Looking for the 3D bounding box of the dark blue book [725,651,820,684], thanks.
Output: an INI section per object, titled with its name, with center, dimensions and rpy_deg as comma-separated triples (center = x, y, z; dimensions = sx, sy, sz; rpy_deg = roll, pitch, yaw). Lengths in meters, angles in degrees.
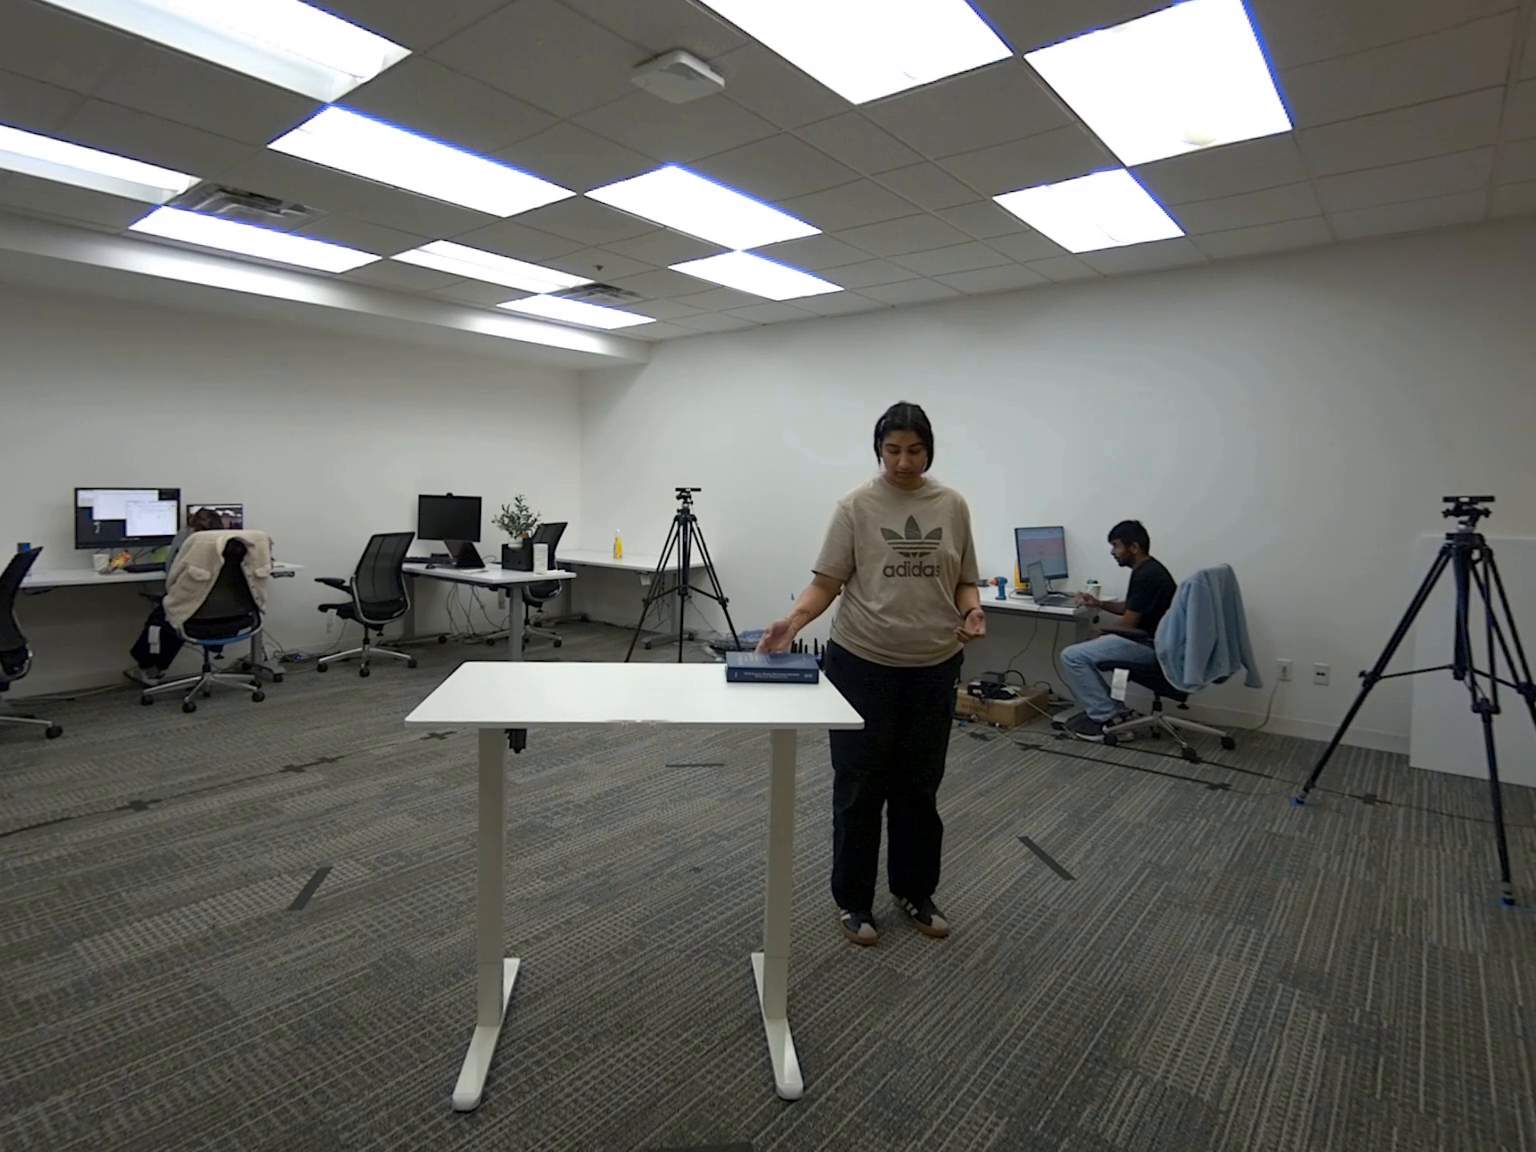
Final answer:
[dark blue book]
center = 0.001, 0.250, 2.320
dimensions = 0.245, 0.045, 0.164
rpy_deg = 1, 7, -1
